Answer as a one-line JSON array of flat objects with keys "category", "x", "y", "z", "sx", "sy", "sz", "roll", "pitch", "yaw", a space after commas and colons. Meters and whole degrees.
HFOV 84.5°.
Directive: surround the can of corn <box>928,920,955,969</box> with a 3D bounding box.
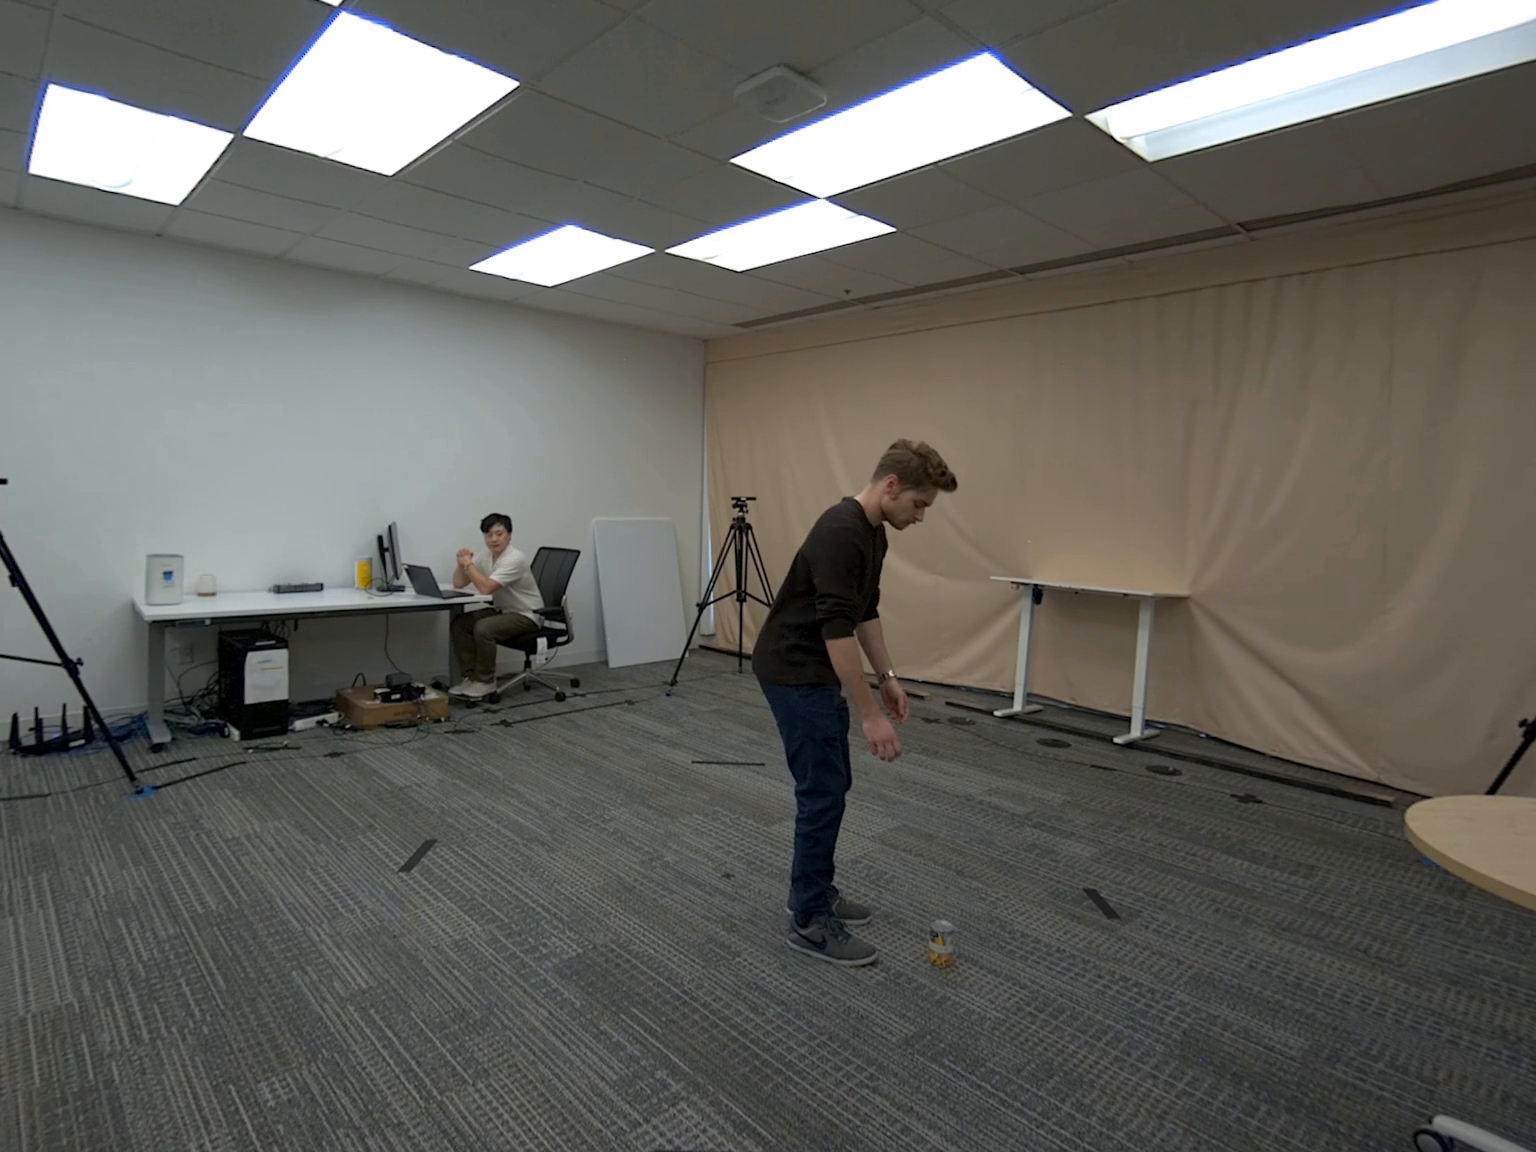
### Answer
[{"category": "can of corn", "x": 0.519, "y": 1.117, "z": 2.557, "sx": 0.074, "sy": 0.111, "sz": 0.074, "roll": 1, "pitch": 3, "yaw": -1}]
